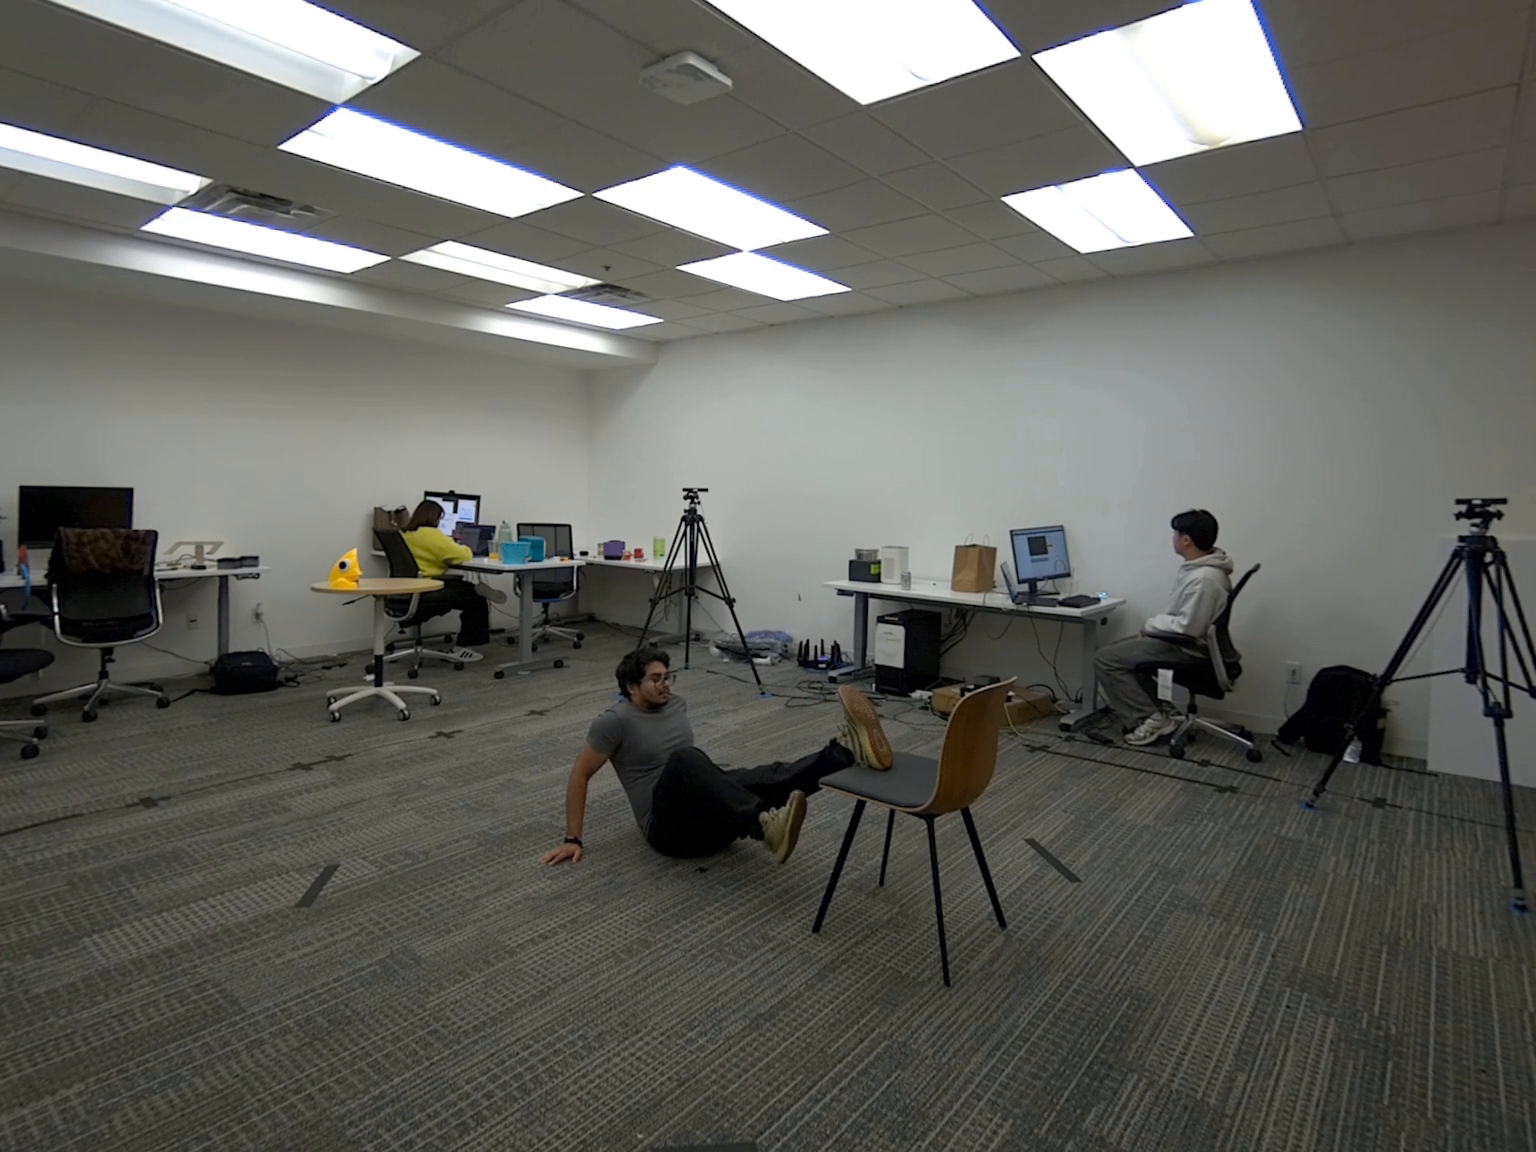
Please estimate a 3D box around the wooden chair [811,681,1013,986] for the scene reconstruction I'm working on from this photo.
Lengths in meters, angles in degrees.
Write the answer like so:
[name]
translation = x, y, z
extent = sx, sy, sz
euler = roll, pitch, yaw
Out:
[wooden chair]
translation = 0.455, 0.700, 2.690
extent = 0.541, 0.873, 0.464
euler = 9, 7, 37
